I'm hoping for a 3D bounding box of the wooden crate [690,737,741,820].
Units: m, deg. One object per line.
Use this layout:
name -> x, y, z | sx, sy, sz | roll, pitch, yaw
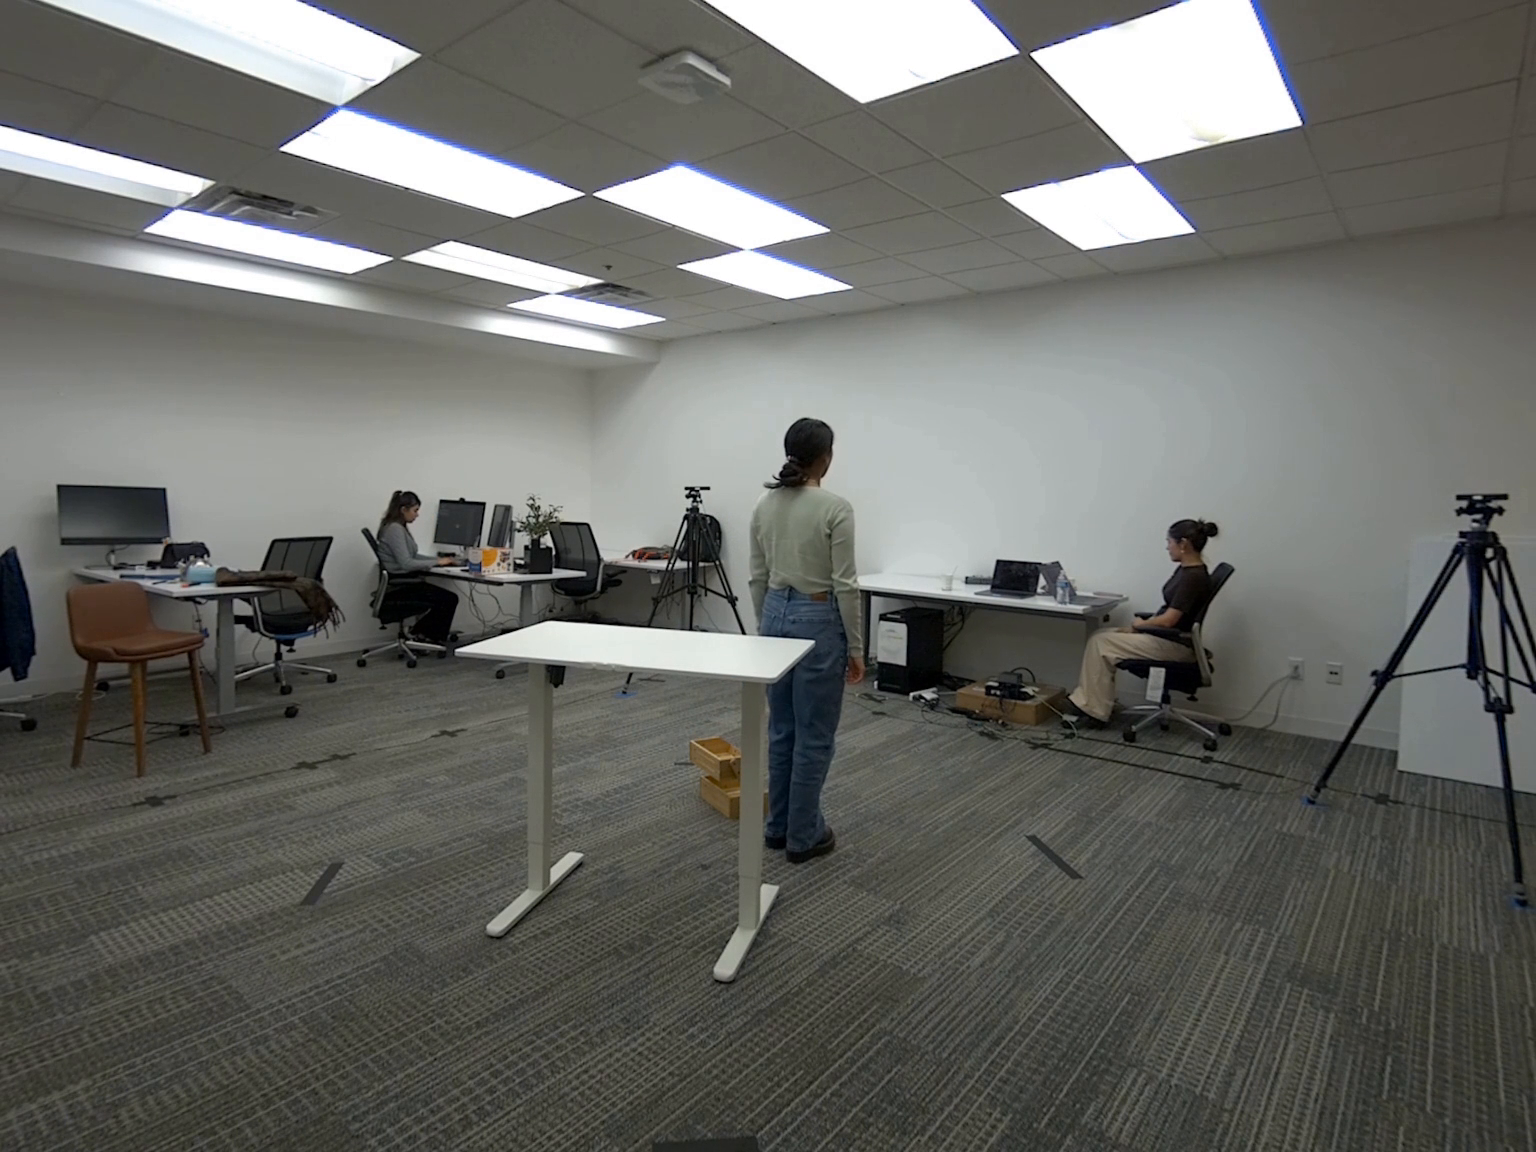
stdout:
wooden crate -> -0.155, 0.870, 3.747 | 0.294, 0.272, 0.334 | -2, 5, -28
